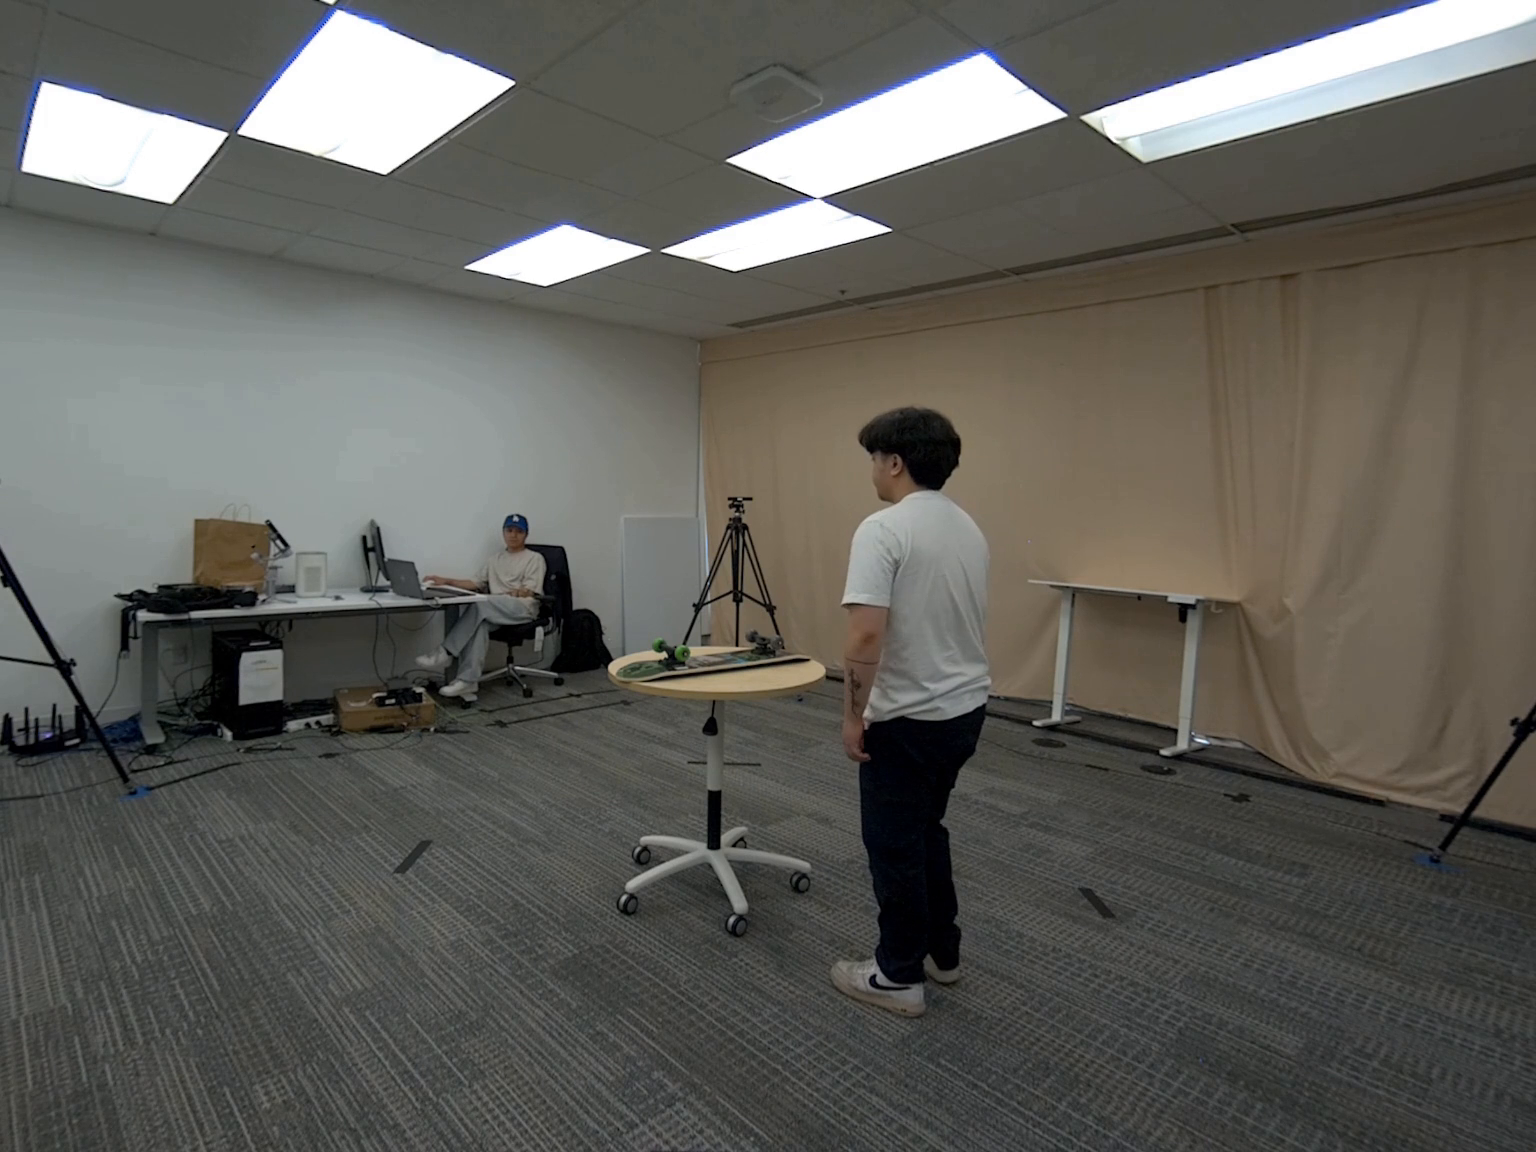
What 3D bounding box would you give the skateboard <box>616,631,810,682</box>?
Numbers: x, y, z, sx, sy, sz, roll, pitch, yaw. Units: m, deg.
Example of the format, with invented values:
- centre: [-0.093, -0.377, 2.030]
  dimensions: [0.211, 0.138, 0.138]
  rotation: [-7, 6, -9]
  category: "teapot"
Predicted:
- centre: [-0.175, 0.279, 2.969]
  dimensions: [0.769, 0.110, 0.198]
  rotation: [-2, 6, -34]
  category: "skateboard"
